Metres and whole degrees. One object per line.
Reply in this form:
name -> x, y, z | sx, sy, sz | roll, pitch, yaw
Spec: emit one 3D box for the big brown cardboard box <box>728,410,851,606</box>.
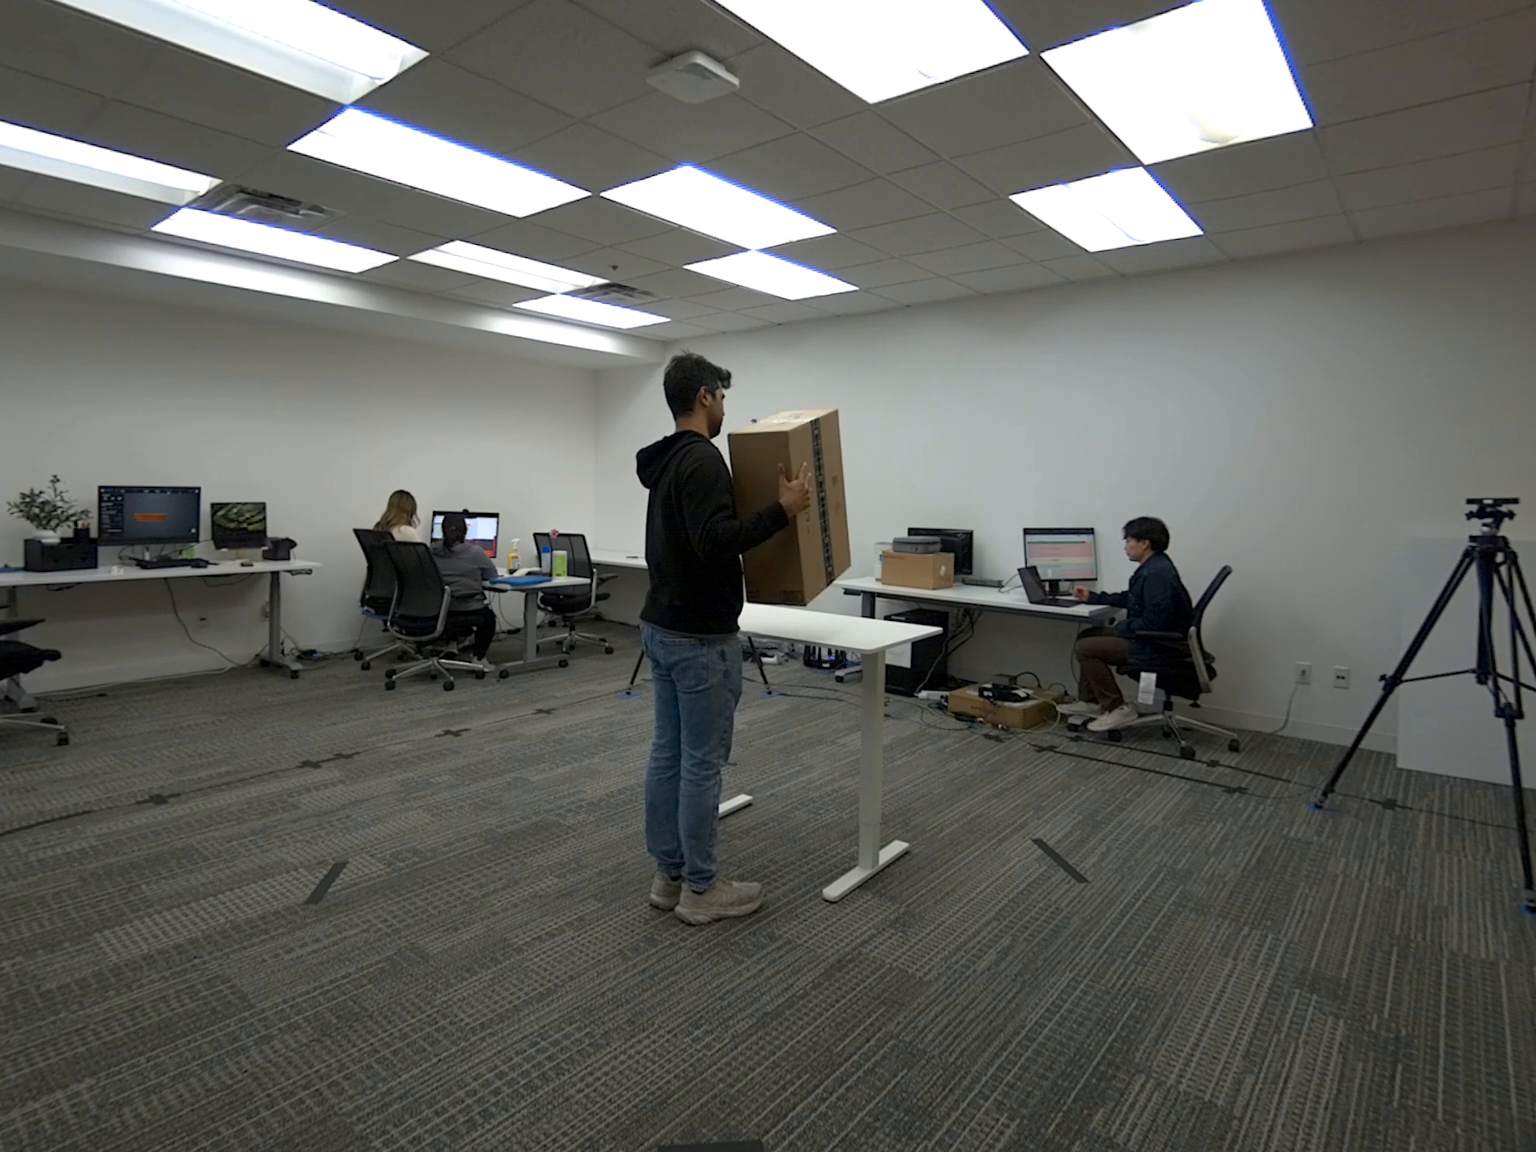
big brown cardboard box -> 0.076, -0.238, 2.845 | 0.240, 0.580, 0.412 | 3, 17, 28
